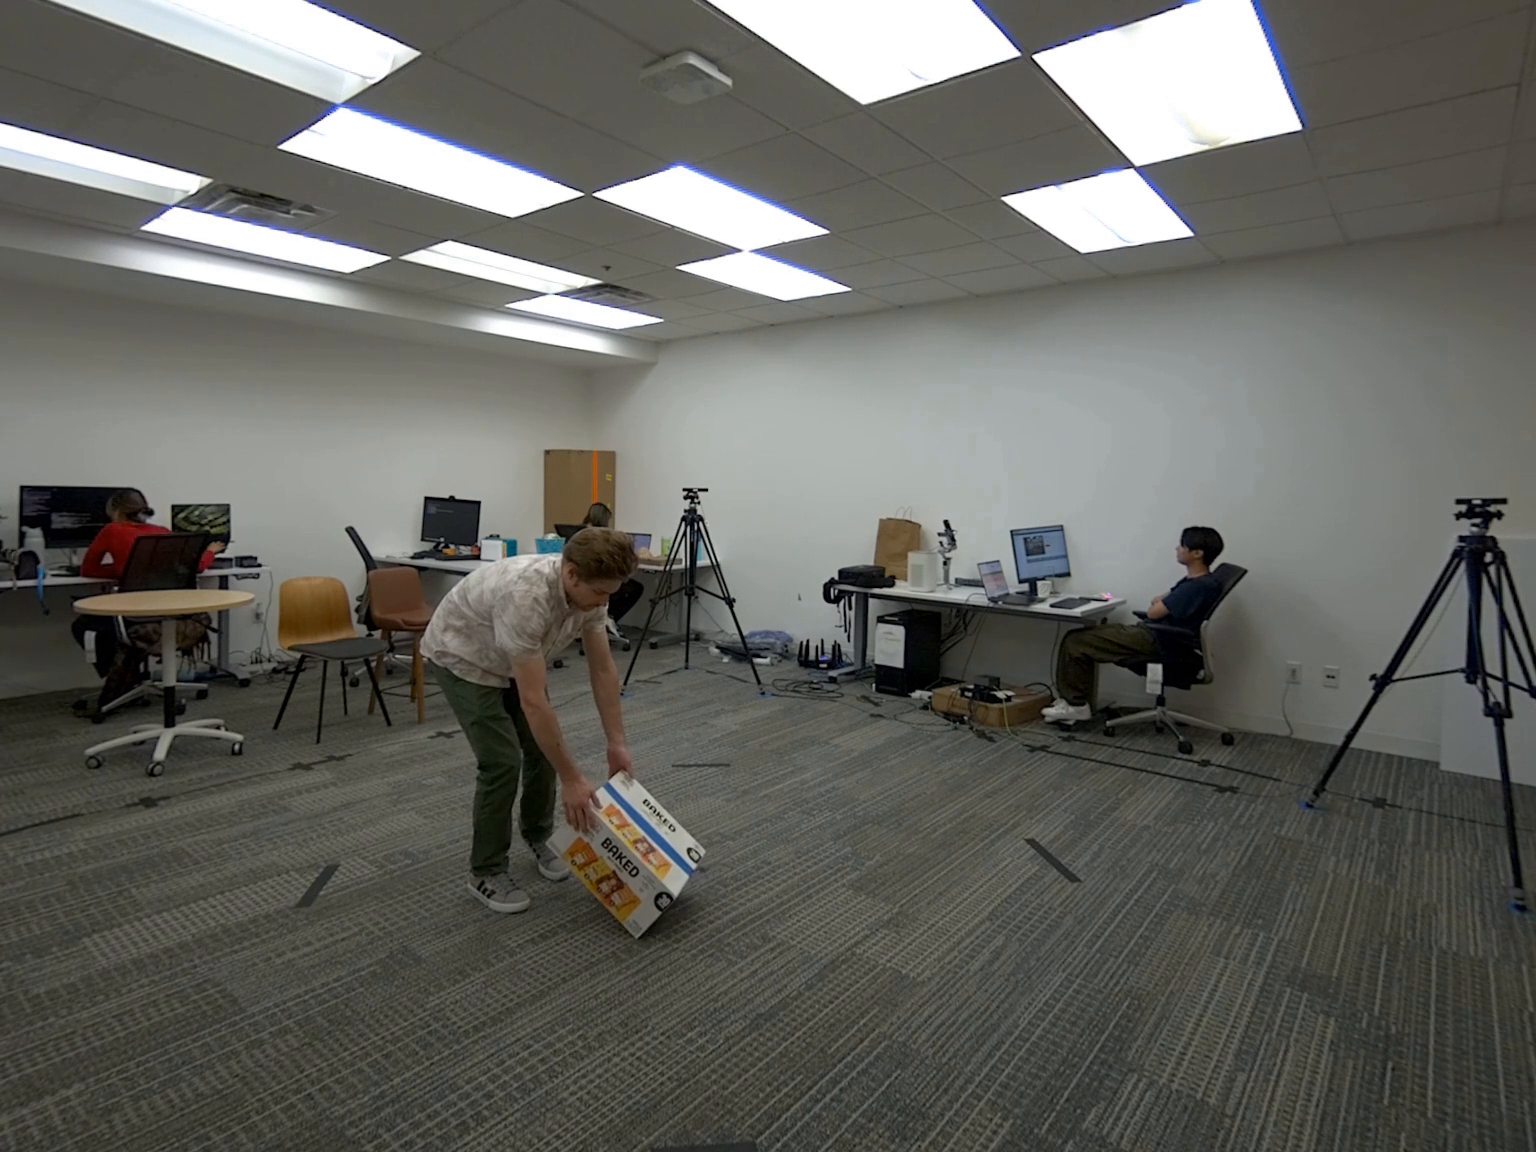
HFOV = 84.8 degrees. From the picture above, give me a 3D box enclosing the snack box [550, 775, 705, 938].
[{"bbox_3d":[-0.464,0.892,2.782,0.410,0.205,0.336,42,12,7],"label":"snack box"}]
